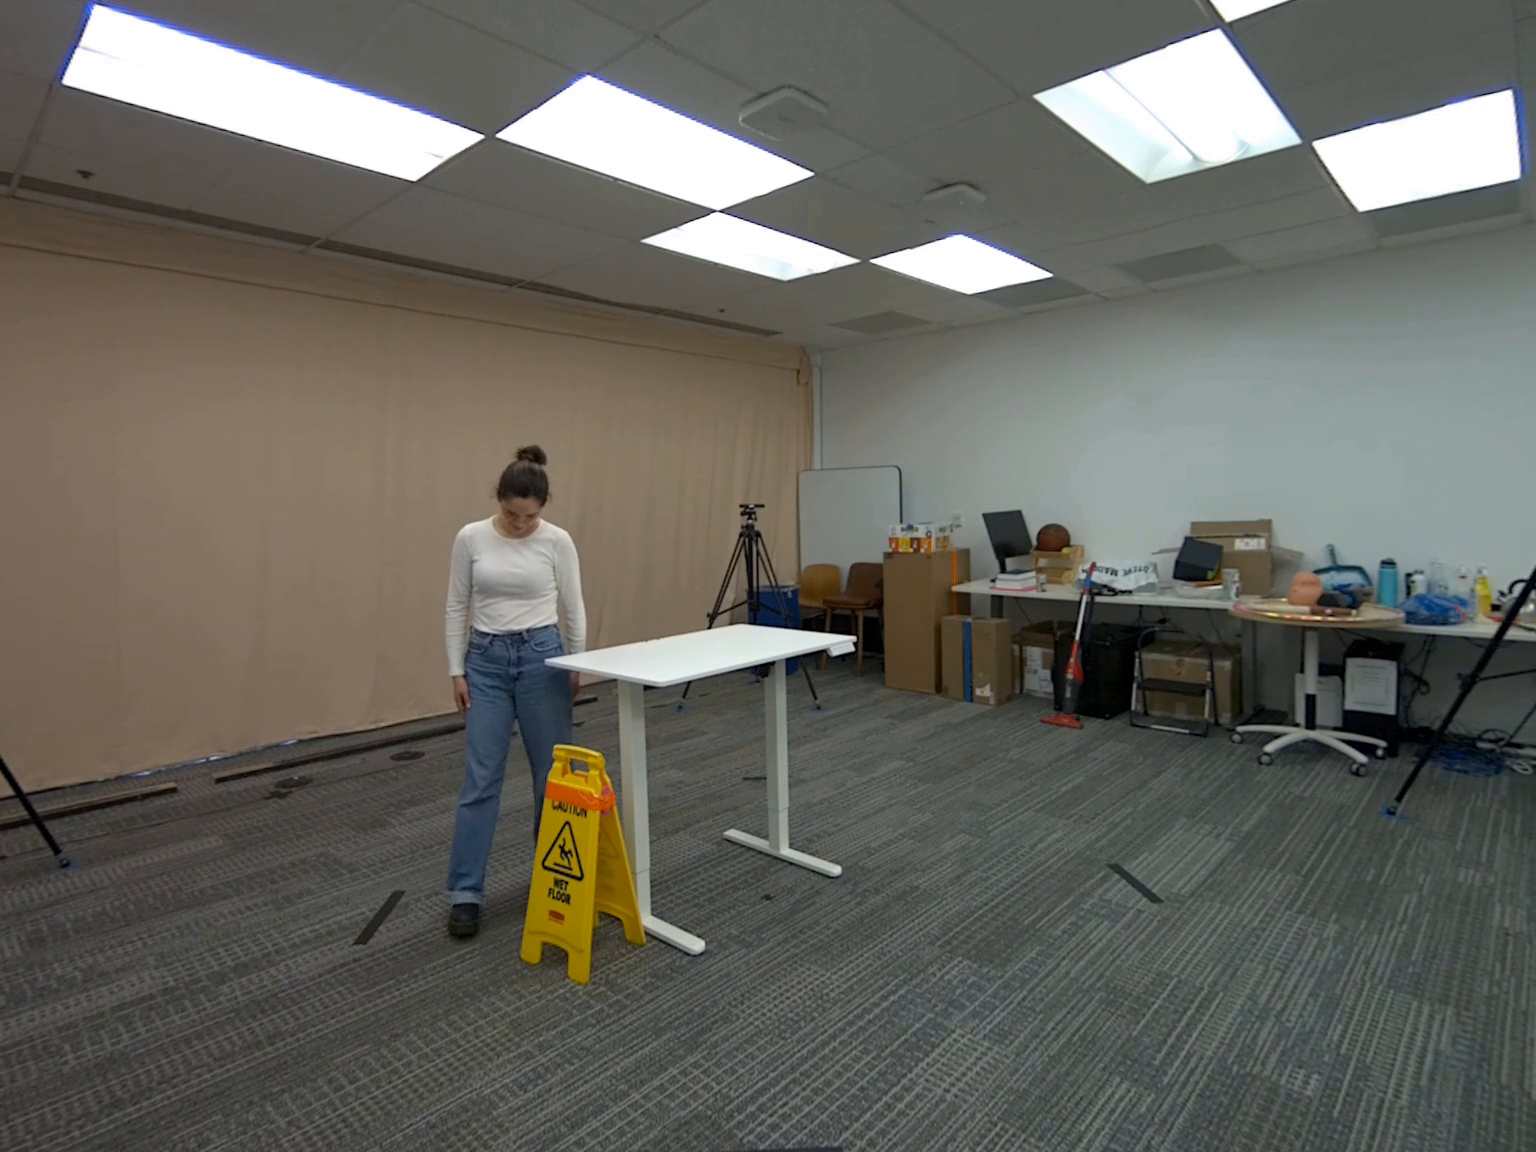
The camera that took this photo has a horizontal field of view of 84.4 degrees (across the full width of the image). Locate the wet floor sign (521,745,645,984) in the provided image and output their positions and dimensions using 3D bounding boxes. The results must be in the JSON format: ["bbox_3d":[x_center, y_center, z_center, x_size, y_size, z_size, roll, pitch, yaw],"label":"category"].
[{"bbox_3d":[-0.586,0.861,2.627,0.291,0.645,0.282,0,4,34],"label":"wet floor sign"}]
